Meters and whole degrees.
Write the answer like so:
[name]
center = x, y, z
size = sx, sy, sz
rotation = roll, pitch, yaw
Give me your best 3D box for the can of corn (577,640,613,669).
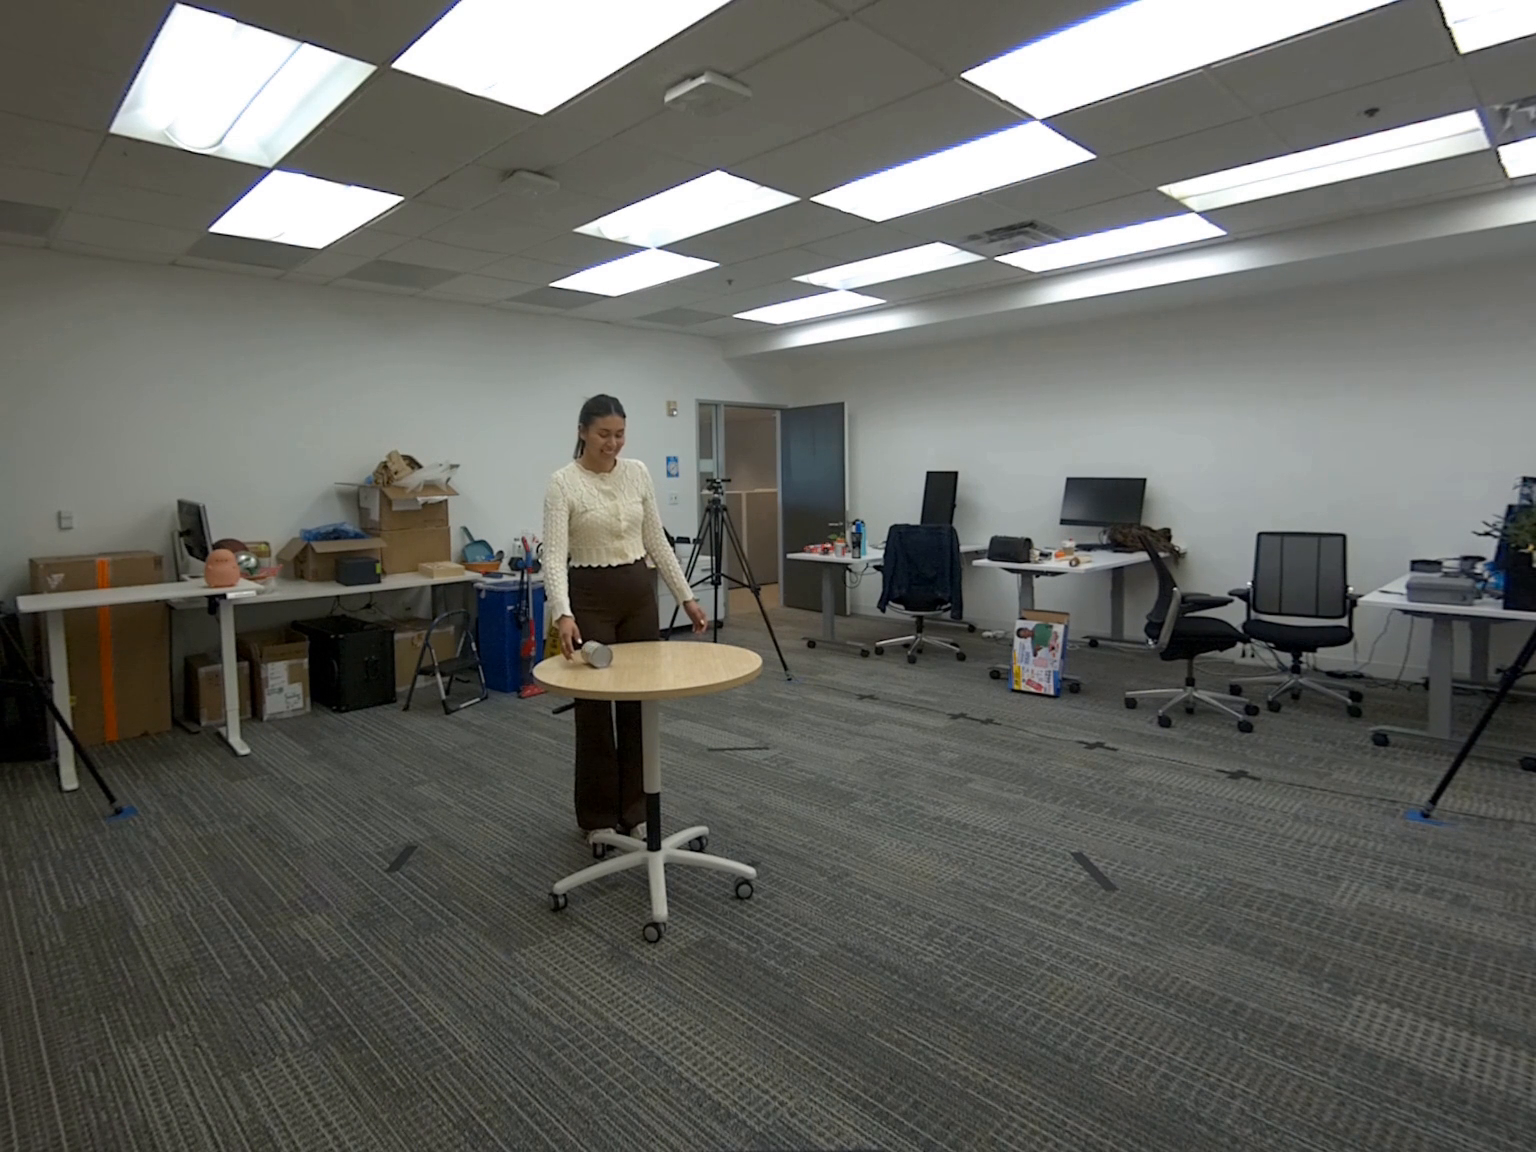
[can of corn]
center = -0.577, 0.266, 2.868
size = 0.073, 0.074, 0.113
rotation = -2, 1, -17
